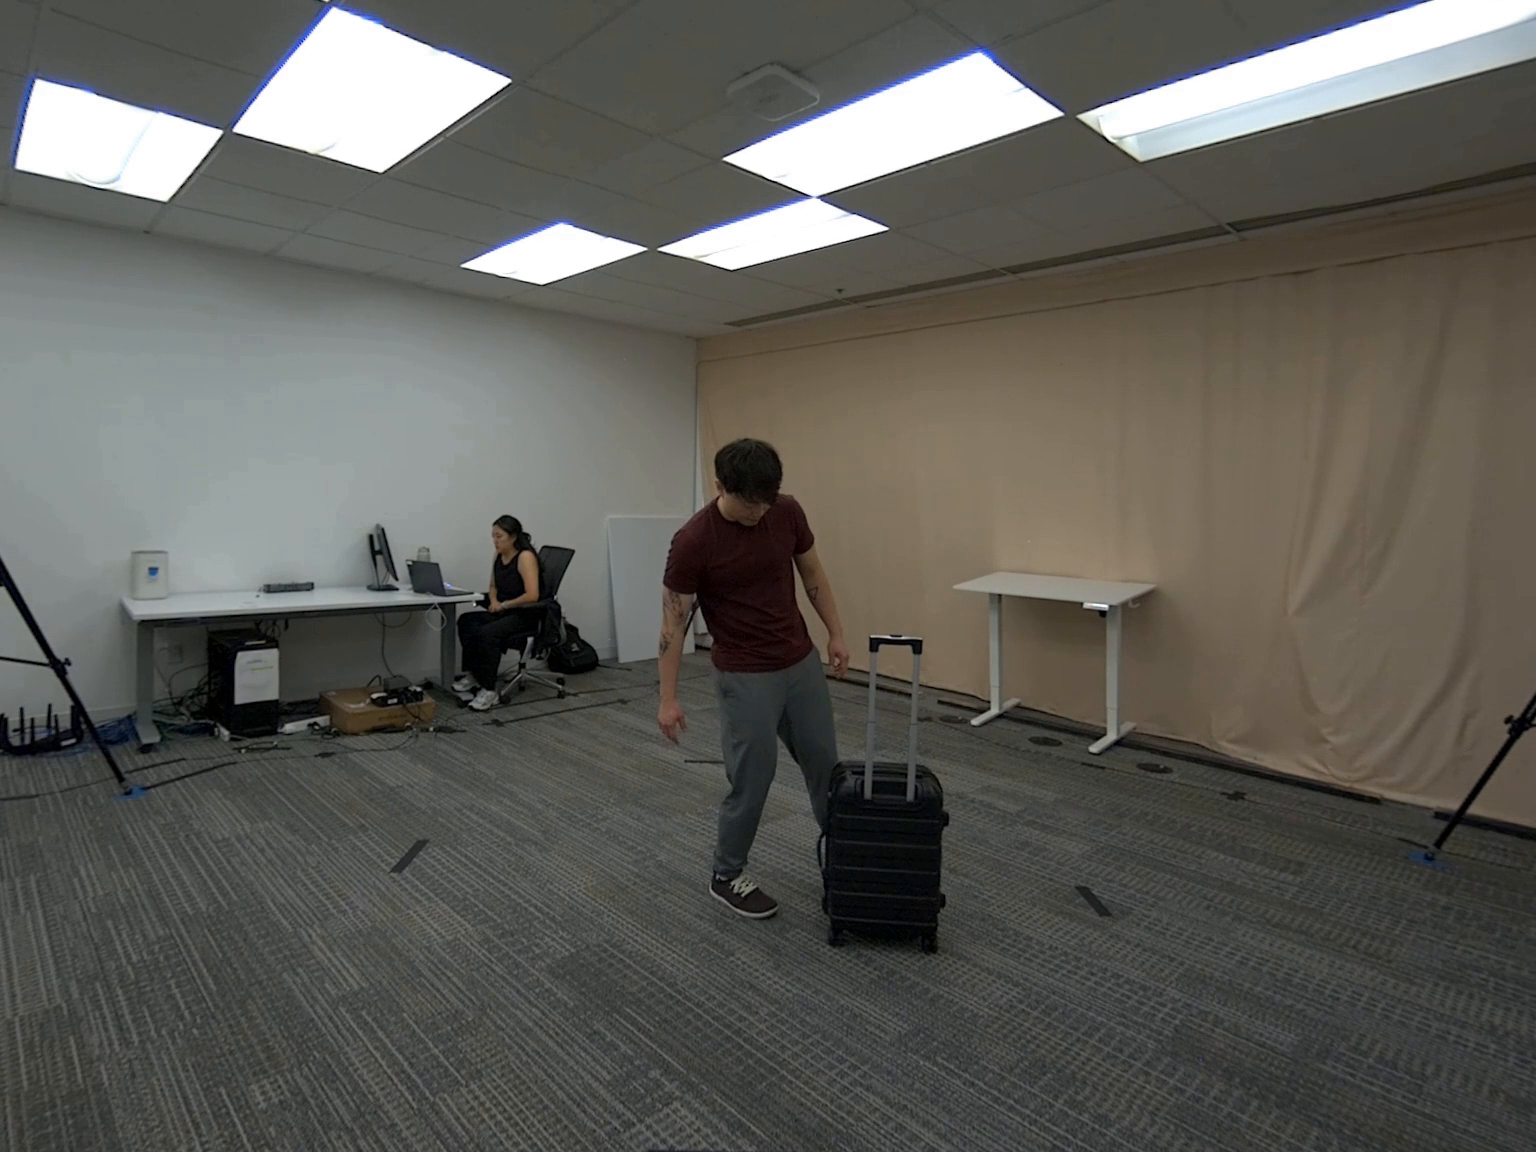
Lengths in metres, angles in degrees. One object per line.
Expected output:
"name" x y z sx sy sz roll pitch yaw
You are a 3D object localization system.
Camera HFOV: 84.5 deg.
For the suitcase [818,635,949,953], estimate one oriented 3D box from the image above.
"suitcase" 0.369 0.681 2.679 0.385 0.976 0.256 2 3 4
